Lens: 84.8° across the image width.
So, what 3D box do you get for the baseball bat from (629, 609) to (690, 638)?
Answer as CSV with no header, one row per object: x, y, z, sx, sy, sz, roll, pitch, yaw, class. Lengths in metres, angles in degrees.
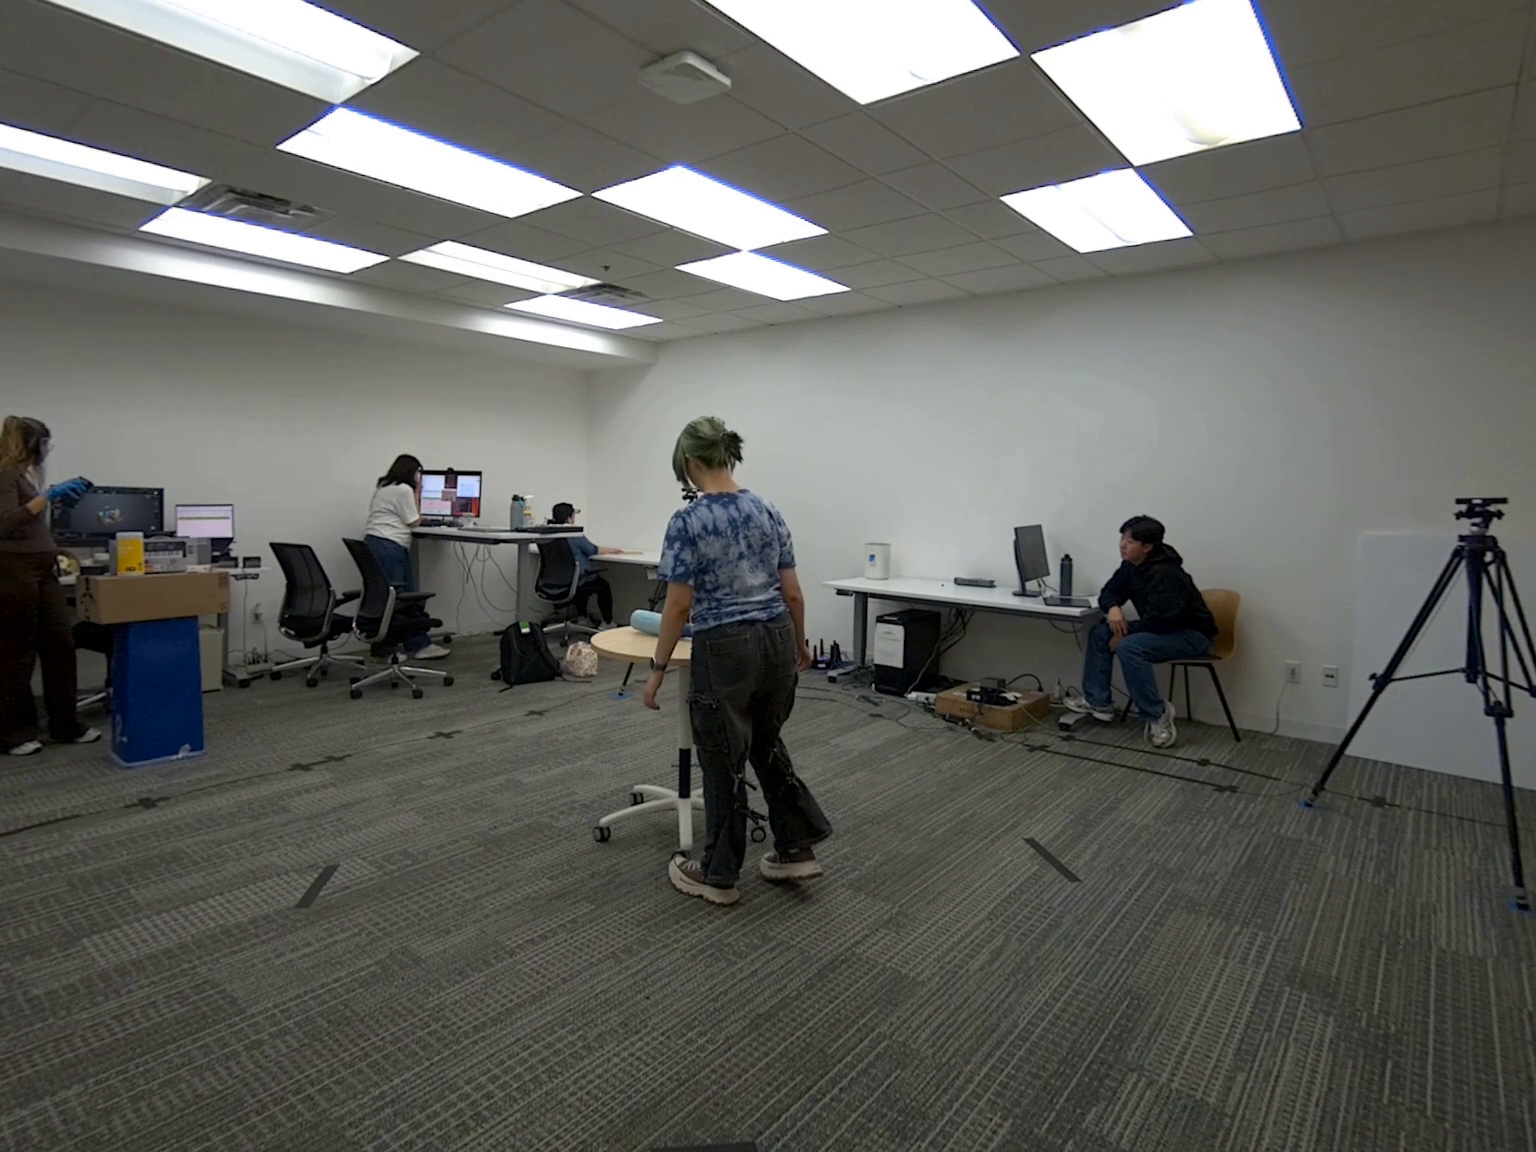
-0.329,0.220,3.412,0.561,0.088,0.086,9,8,33,baseball bat
